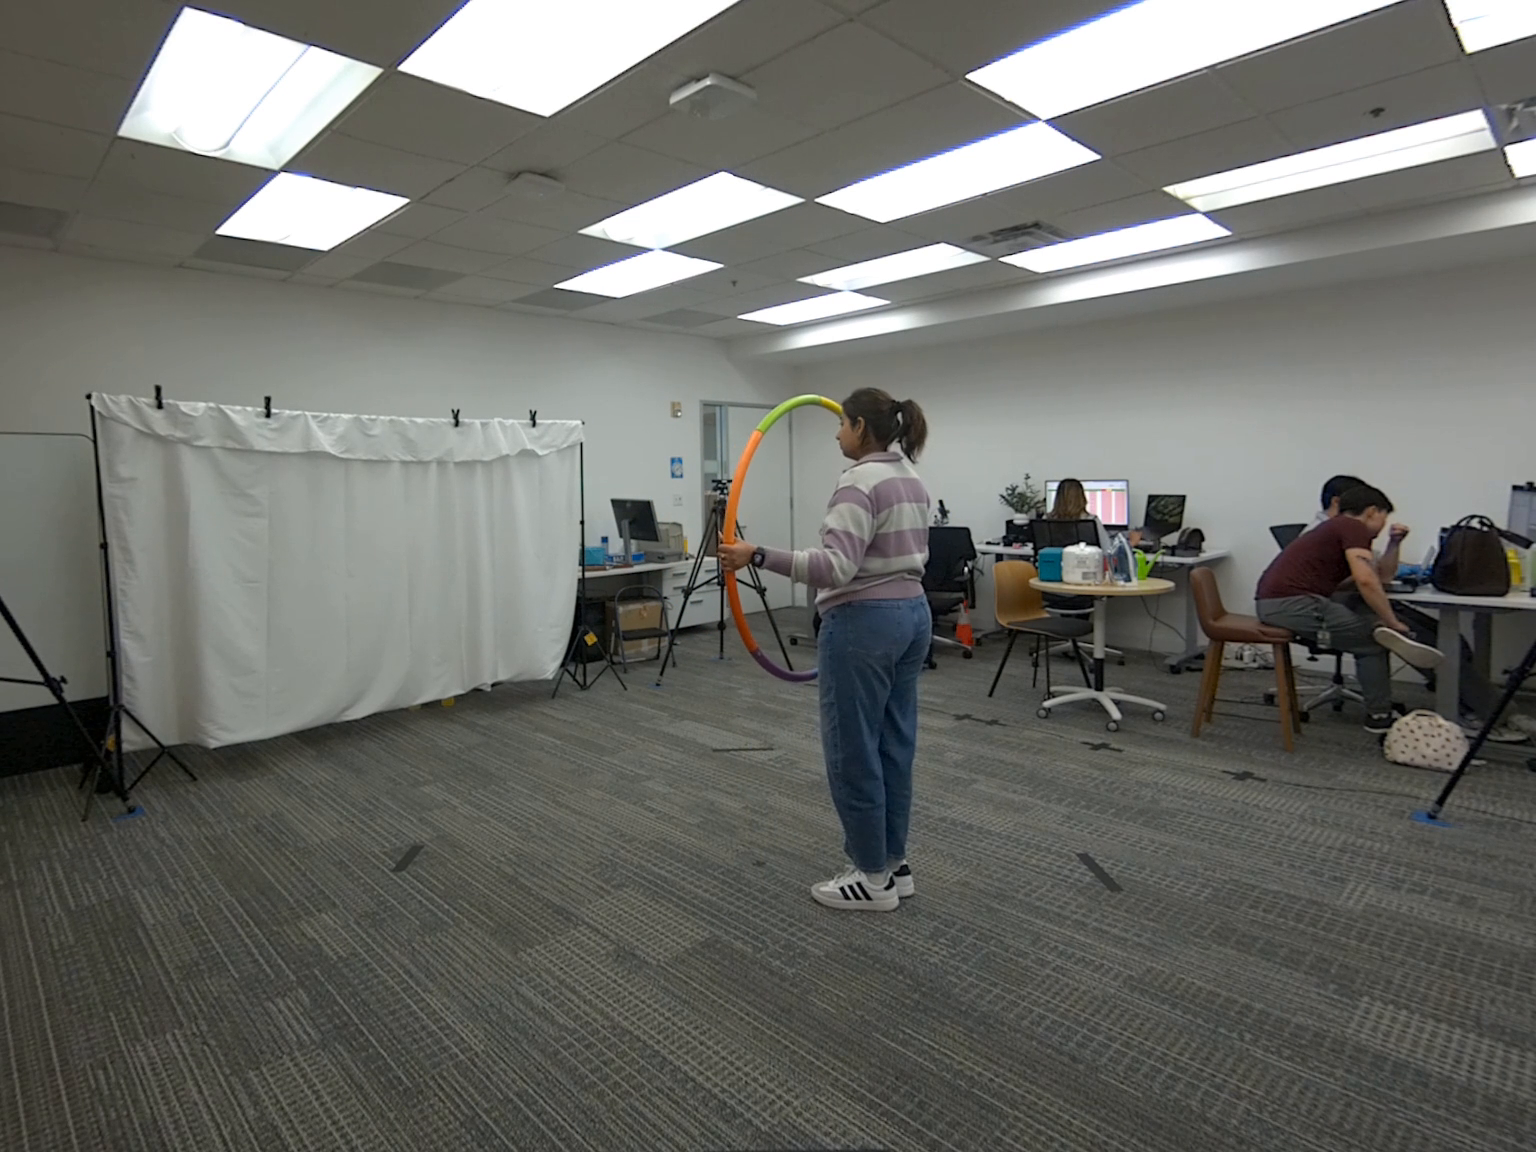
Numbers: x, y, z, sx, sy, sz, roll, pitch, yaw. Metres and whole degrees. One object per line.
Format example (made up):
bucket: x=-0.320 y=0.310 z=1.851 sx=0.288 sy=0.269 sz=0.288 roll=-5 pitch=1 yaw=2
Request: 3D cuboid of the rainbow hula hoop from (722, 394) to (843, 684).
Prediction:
rainbow hula hoop: x=0.163 y=-0.132 z=2.957 sx=0.036 sy=0.975 sz=0.954 roll=2 pitch=6 yaw=37
